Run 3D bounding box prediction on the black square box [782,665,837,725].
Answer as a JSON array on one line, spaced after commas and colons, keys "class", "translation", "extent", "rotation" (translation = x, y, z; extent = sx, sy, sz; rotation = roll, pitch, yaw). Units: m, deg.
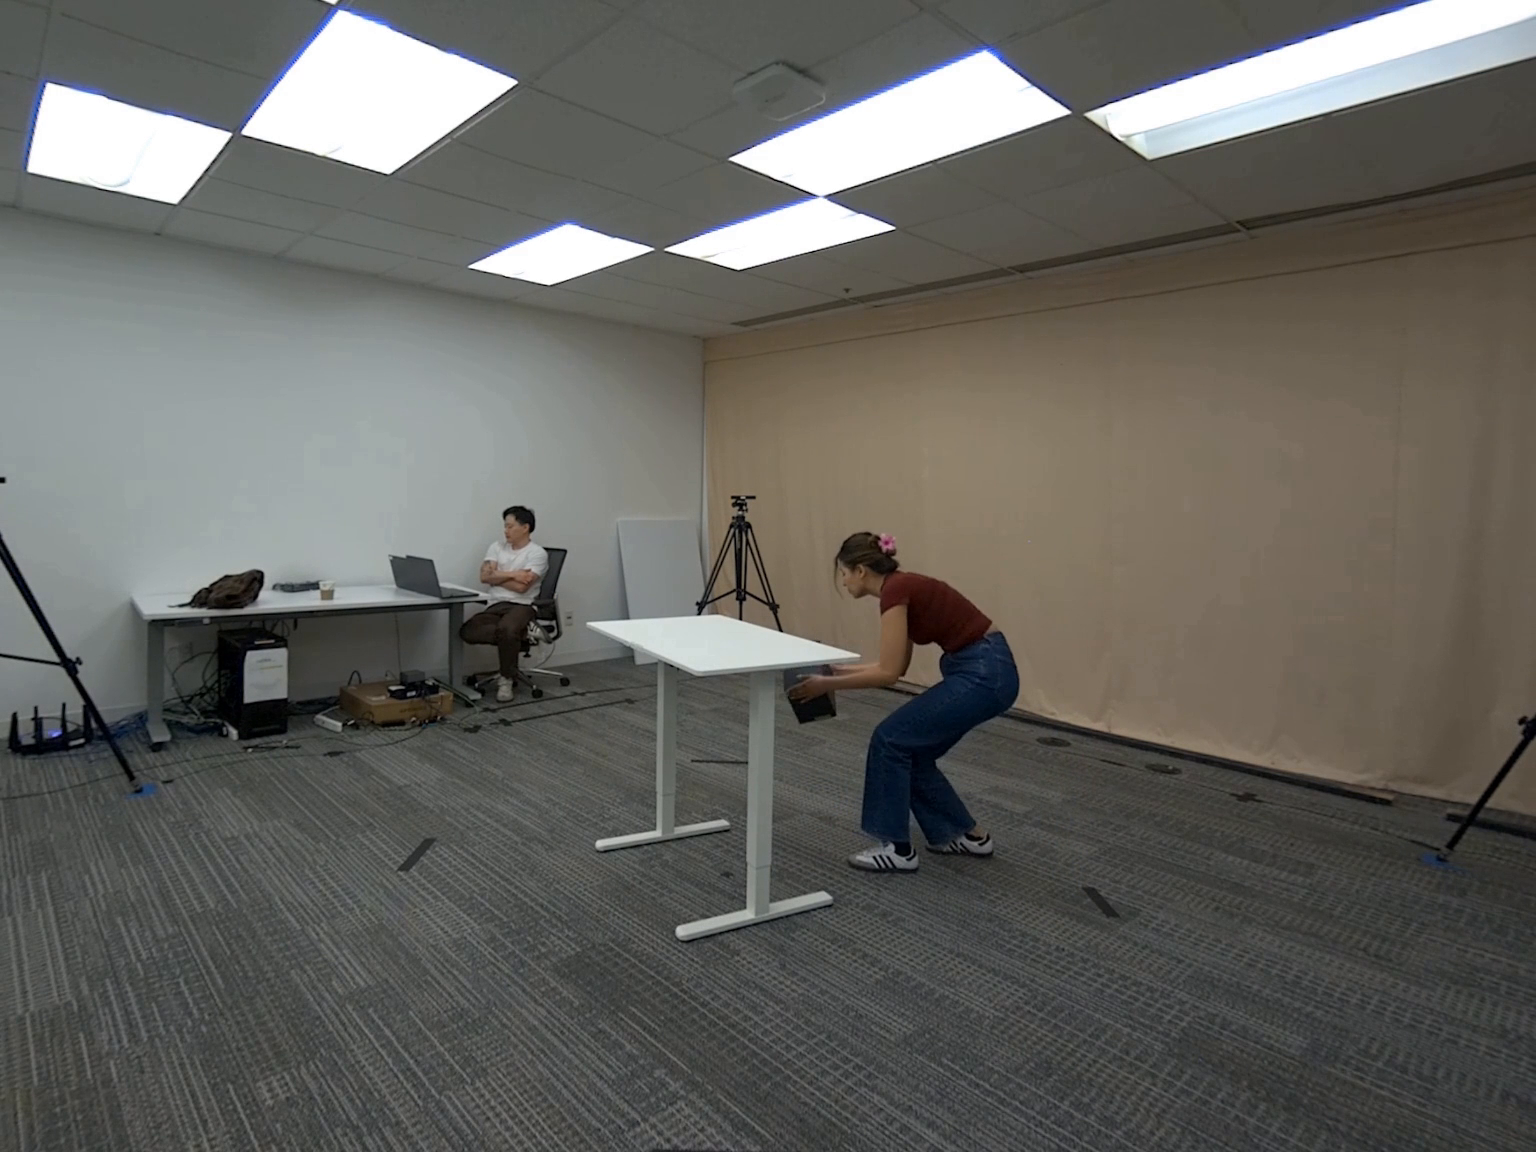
[{"class": "black square box", "translation": [0.161, 0.426, 3.389], "extent": [0.157, 0.211, 0.232], "rotation": [-13, 36, 11]}]
